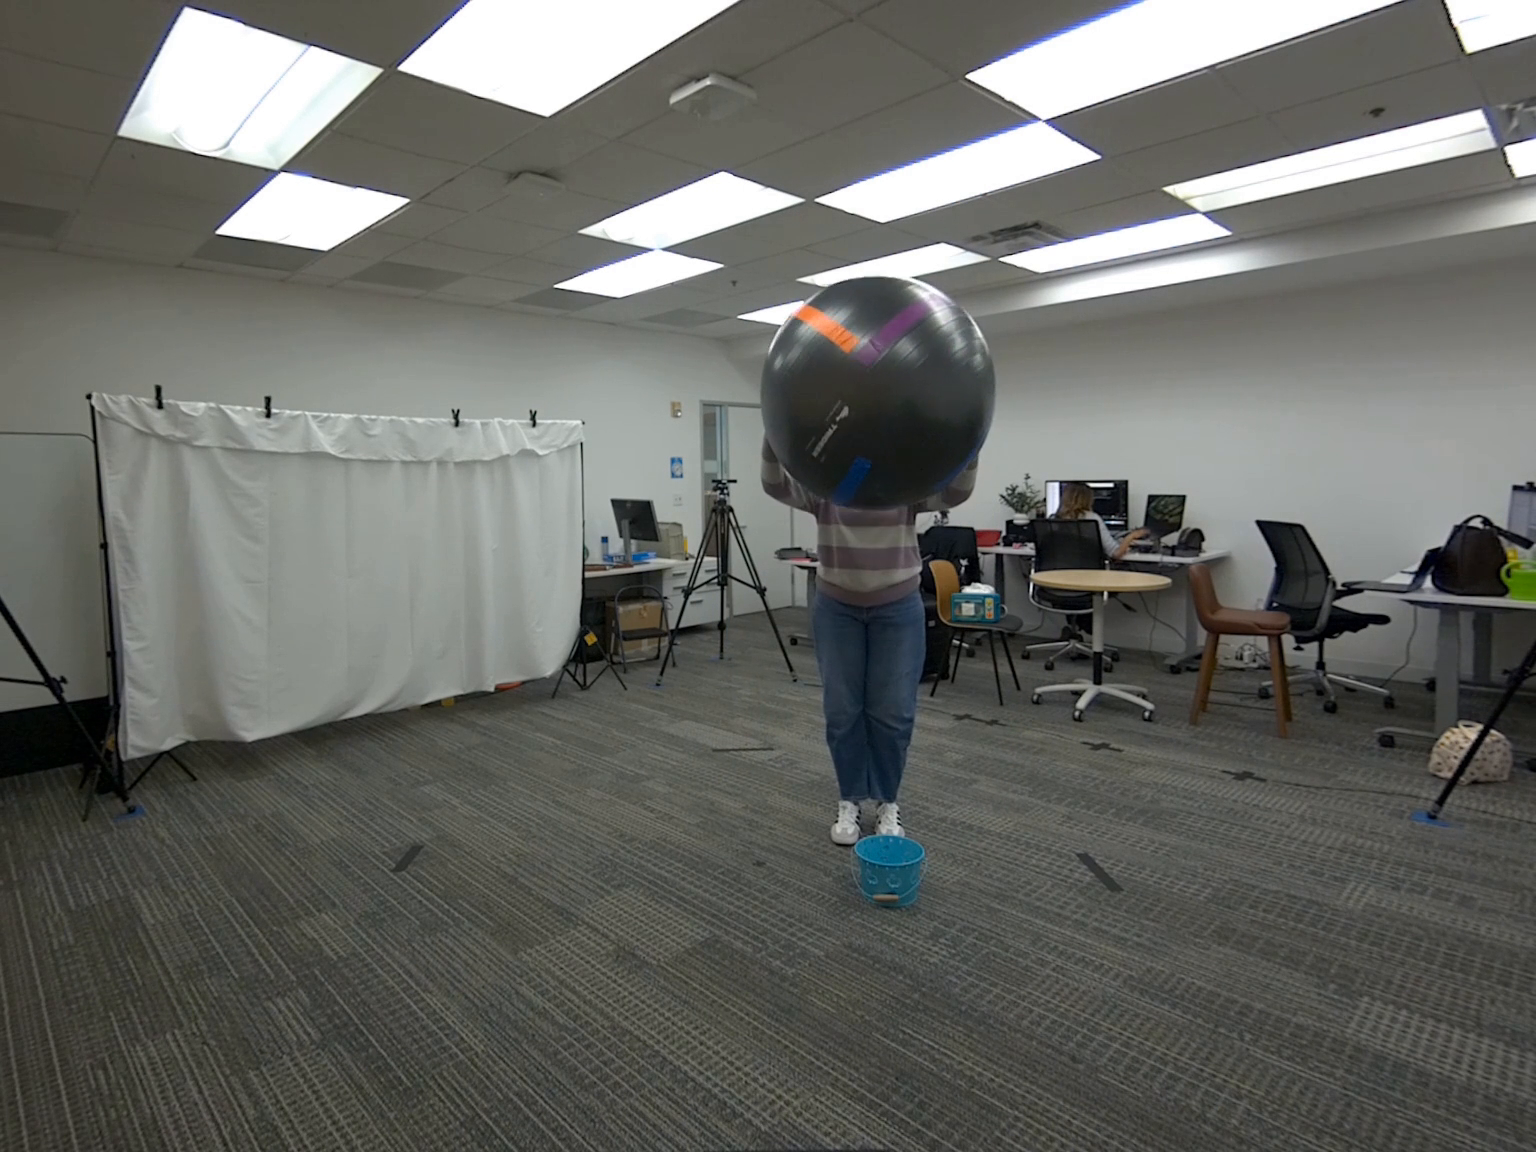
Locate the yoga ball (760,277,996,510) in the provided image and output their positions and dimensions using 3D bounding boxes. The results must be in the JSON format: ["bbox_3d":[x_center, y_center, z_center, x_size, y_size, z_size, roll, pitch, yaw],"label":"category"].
[{"bbox_3d":[0.355,-0.583,2.784,0.757,0.755,0.762,-1,5,-2],"label":"yoga ball"}]
